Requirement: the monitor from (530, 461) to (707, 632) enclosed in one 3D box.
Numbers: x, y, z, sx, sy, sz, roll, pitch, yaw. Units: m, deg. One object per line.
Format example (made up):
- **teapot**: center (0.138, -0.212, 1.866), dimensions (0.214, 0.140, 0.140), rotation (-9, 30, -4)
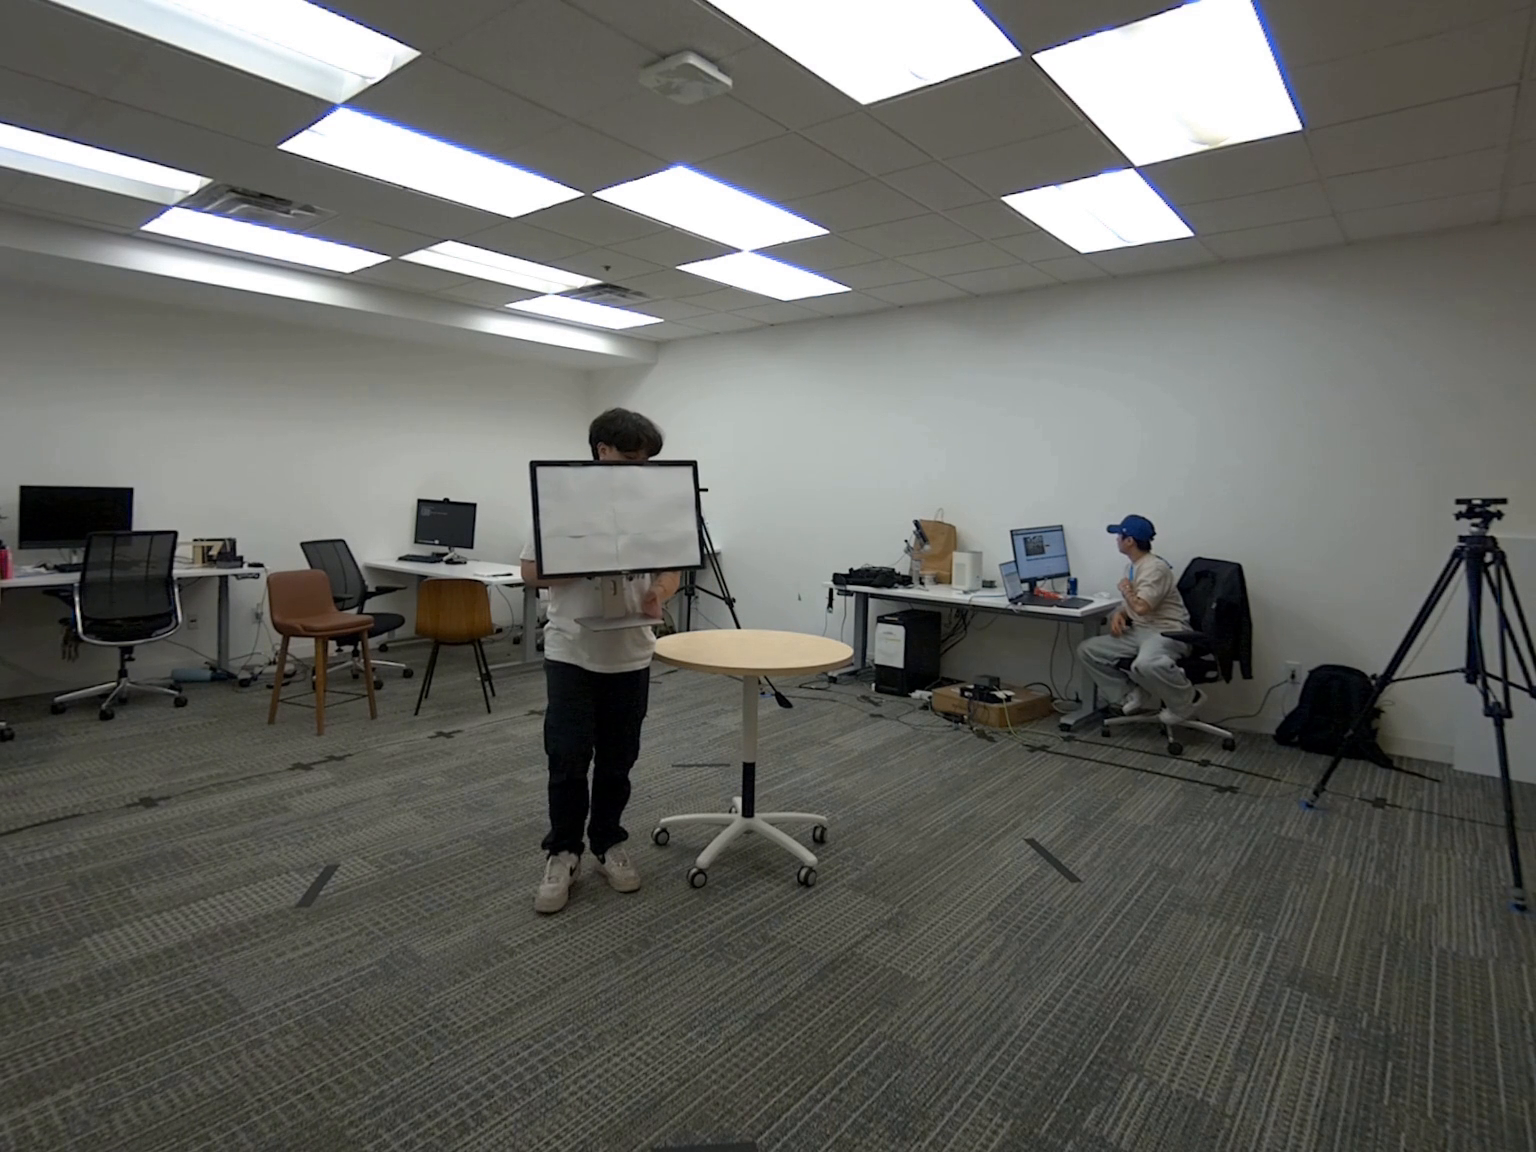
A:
- **monitor**: center (-0.503, -0.105, 2.749), dimensions (0.552, 0.553, 0.215), rotation (-4, 2, -27)
